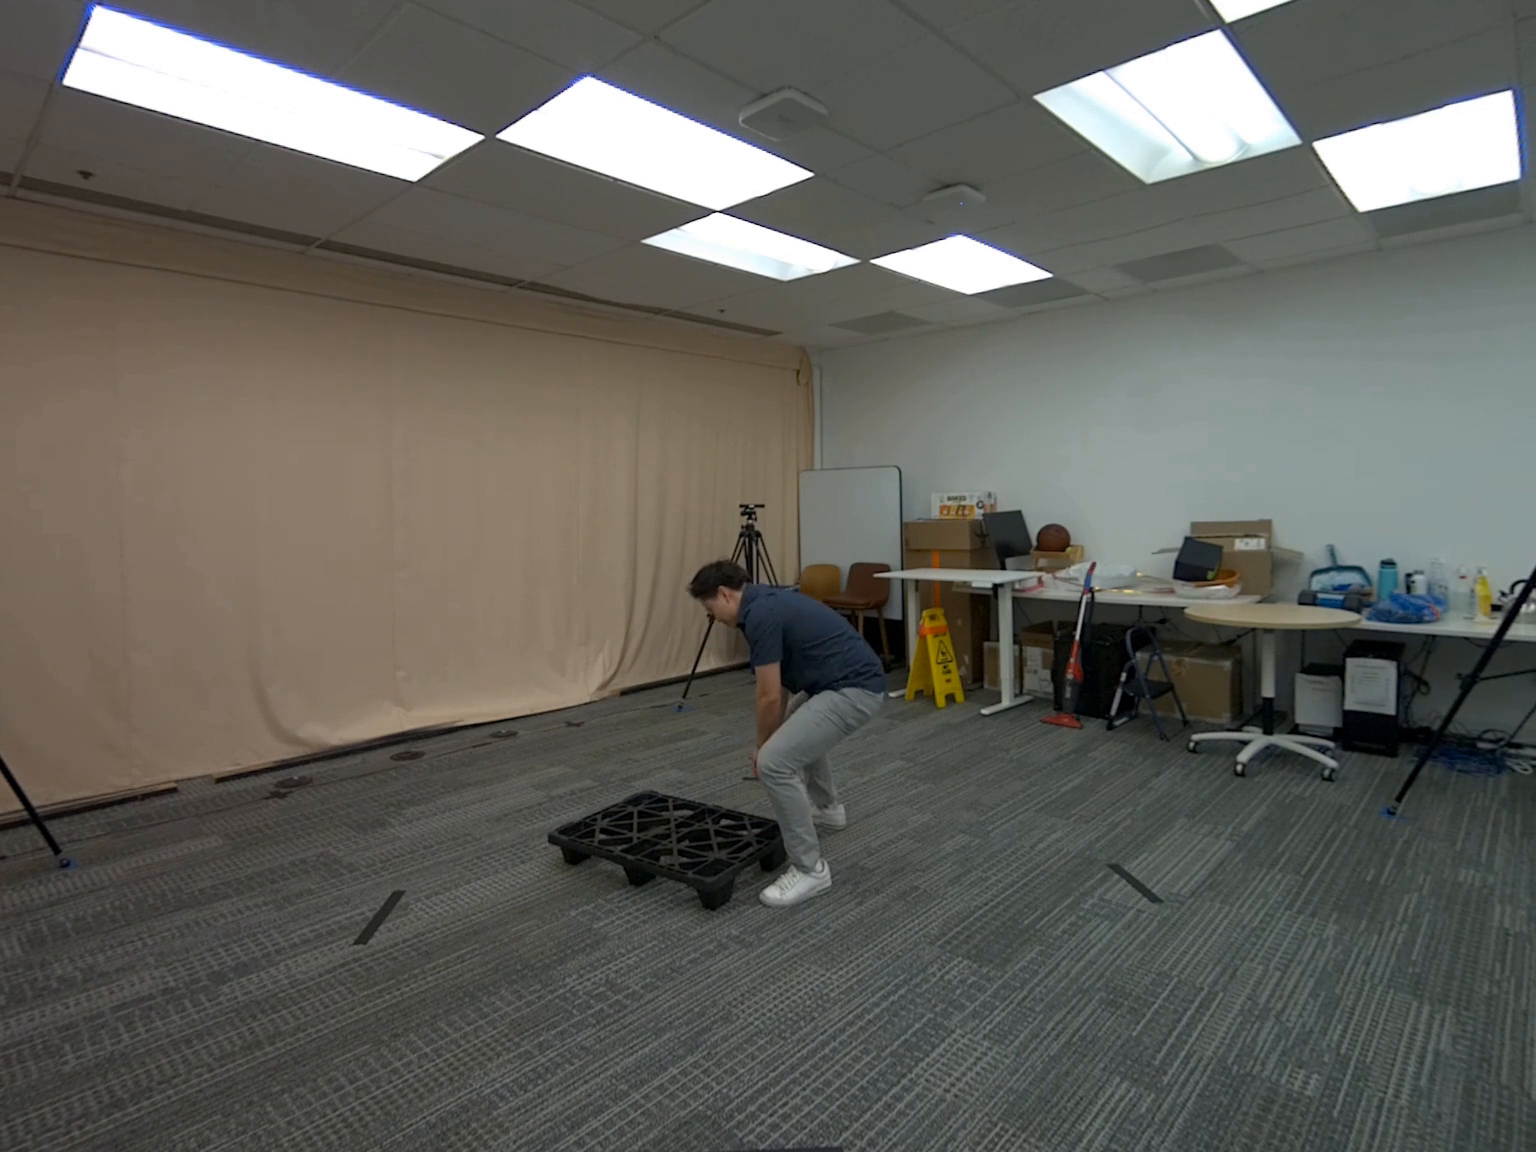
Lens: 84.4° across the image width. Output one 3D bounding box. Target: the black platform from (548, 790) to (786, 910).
[{"bbox_3d":[-0.369,1.056,3.290,0.830,0.143,0.588,2,5,34],"label":"black platform"}]
